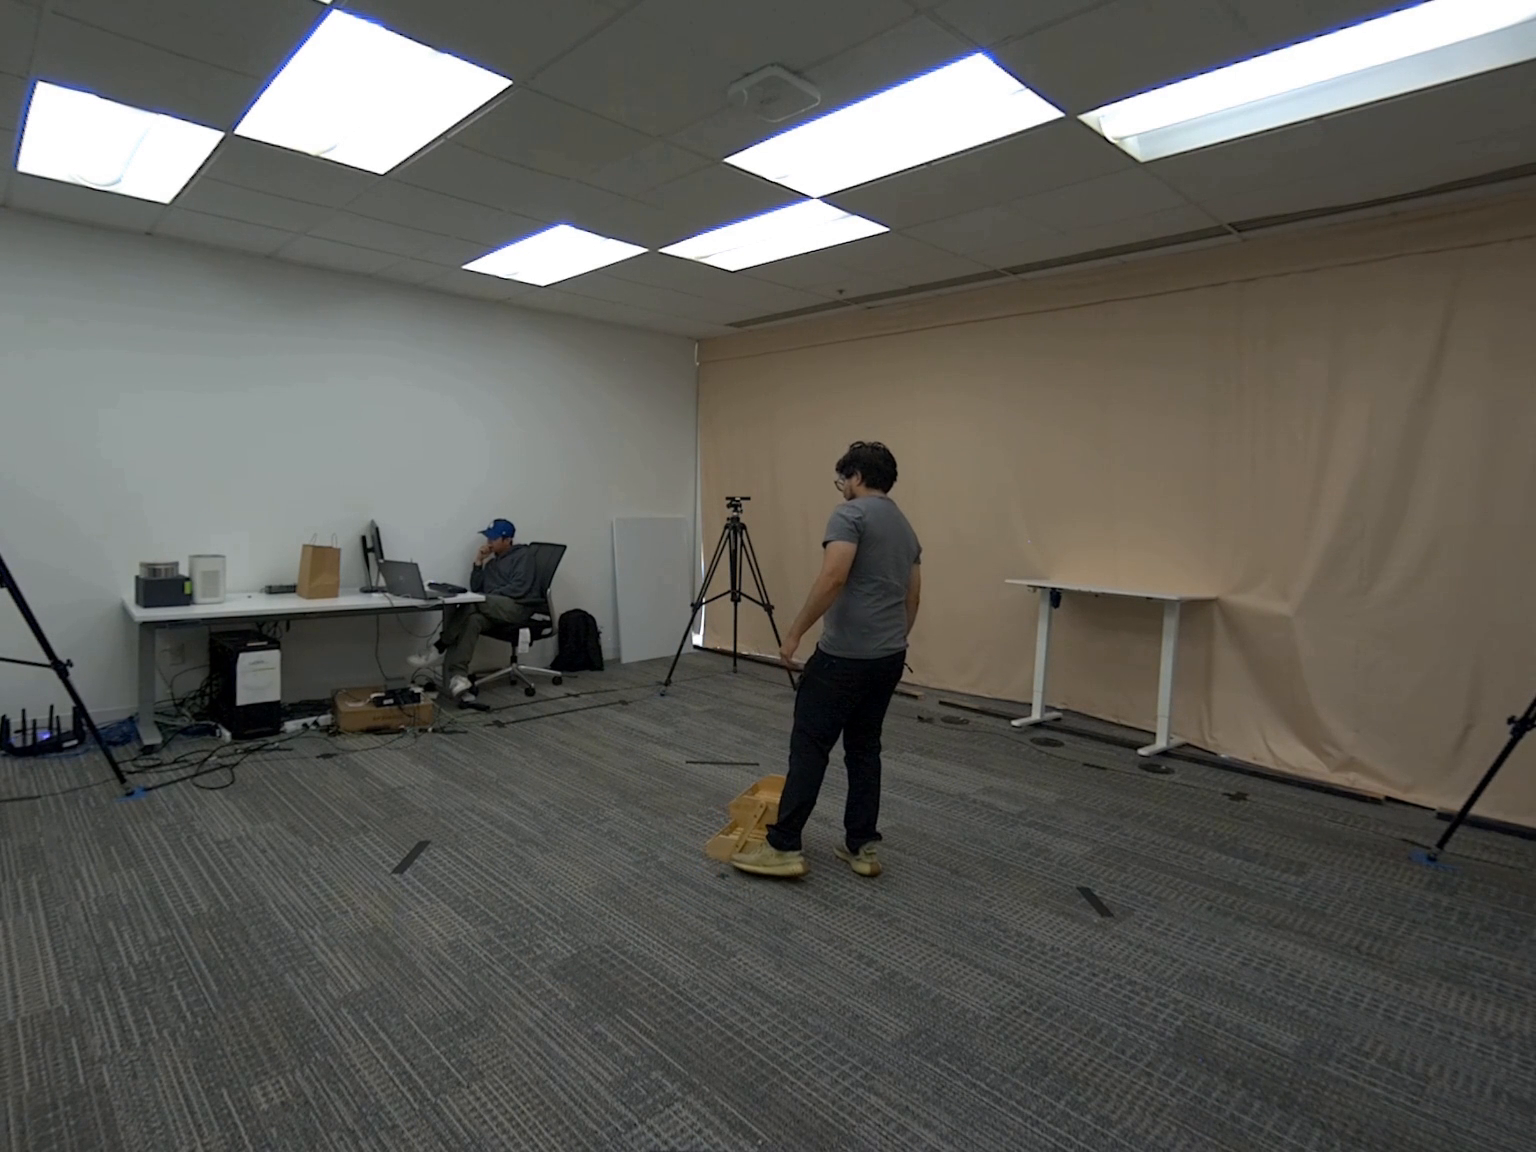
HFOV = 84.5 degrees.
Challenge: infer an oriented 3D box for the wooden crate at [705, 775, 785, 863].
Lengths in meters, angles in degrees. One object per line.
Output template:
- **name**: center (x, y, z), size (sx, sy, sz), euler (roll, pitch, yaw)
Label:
- **wooden crate**: center (-0.062, 0.952, 3.346), size (0.307, 0.272, 0.320), euler (2, 4, 21)
